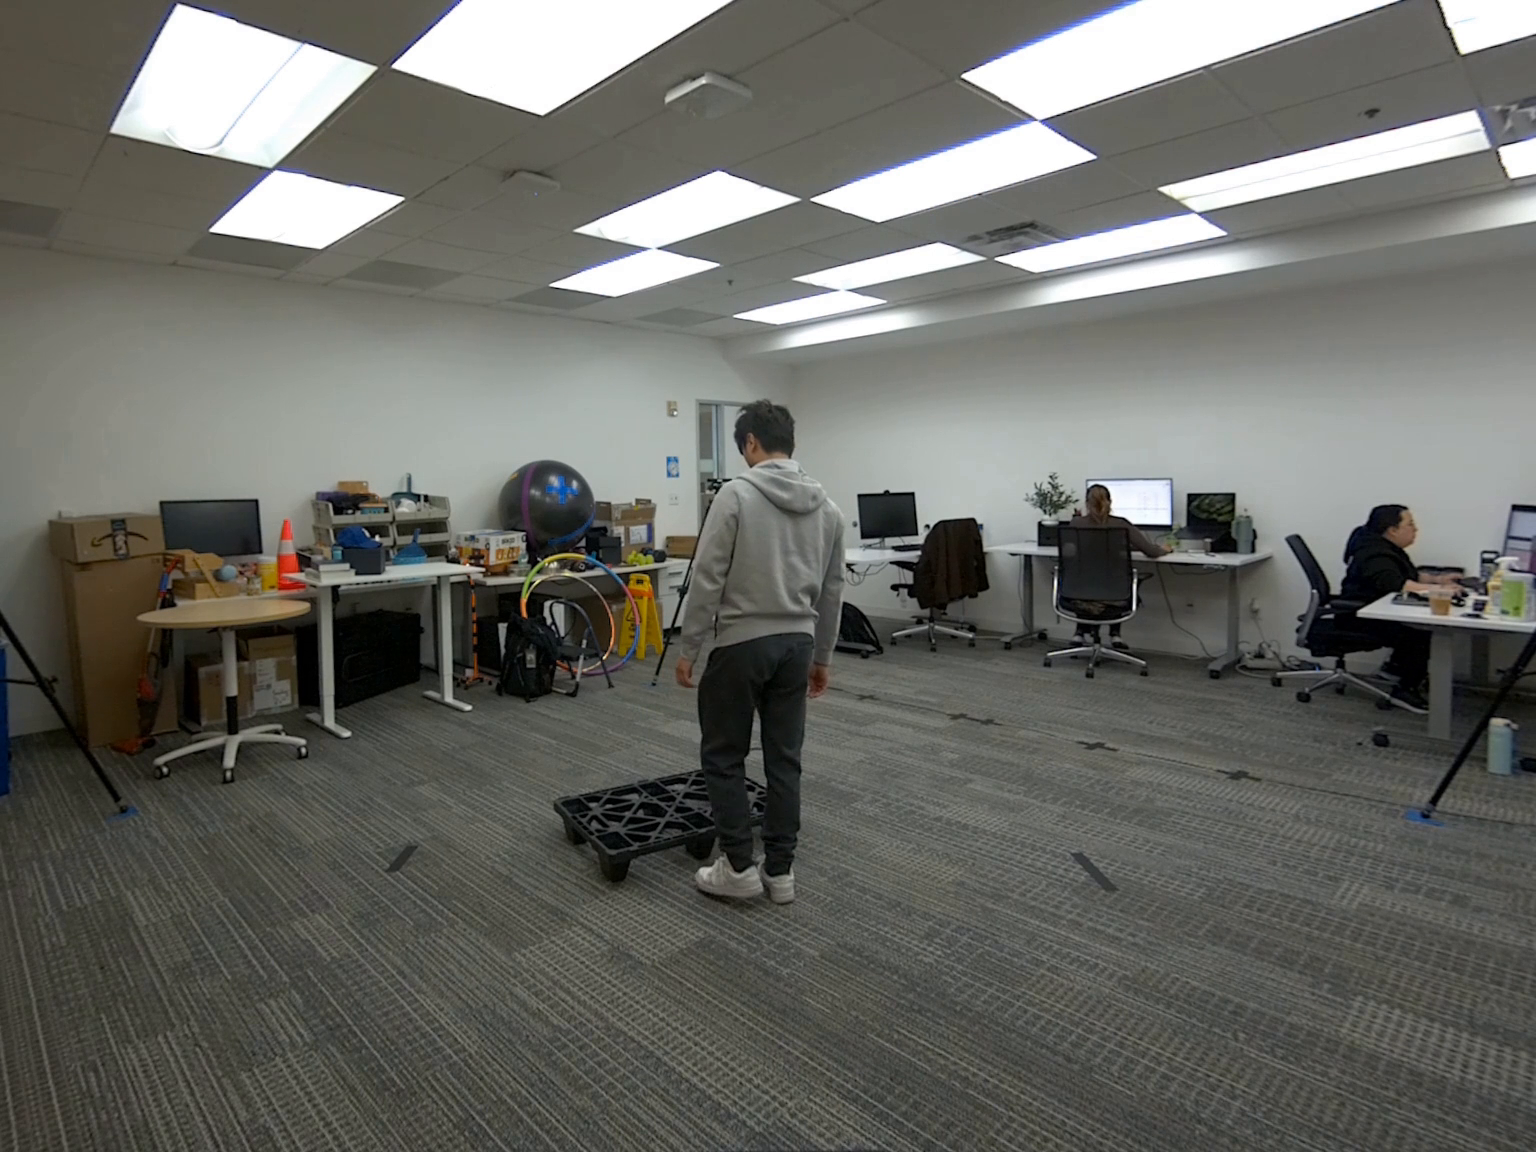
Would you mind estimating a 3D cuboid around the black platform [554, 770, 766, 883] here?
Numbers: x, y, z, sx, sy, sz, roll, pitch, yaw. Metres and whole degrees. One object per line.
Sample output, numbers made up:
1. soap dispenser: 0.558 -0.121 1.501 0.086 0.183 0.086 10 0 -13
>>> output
1. black platform: -0.355 0.956 3.351 0.786 0.142 0.623 -5 8 -31
